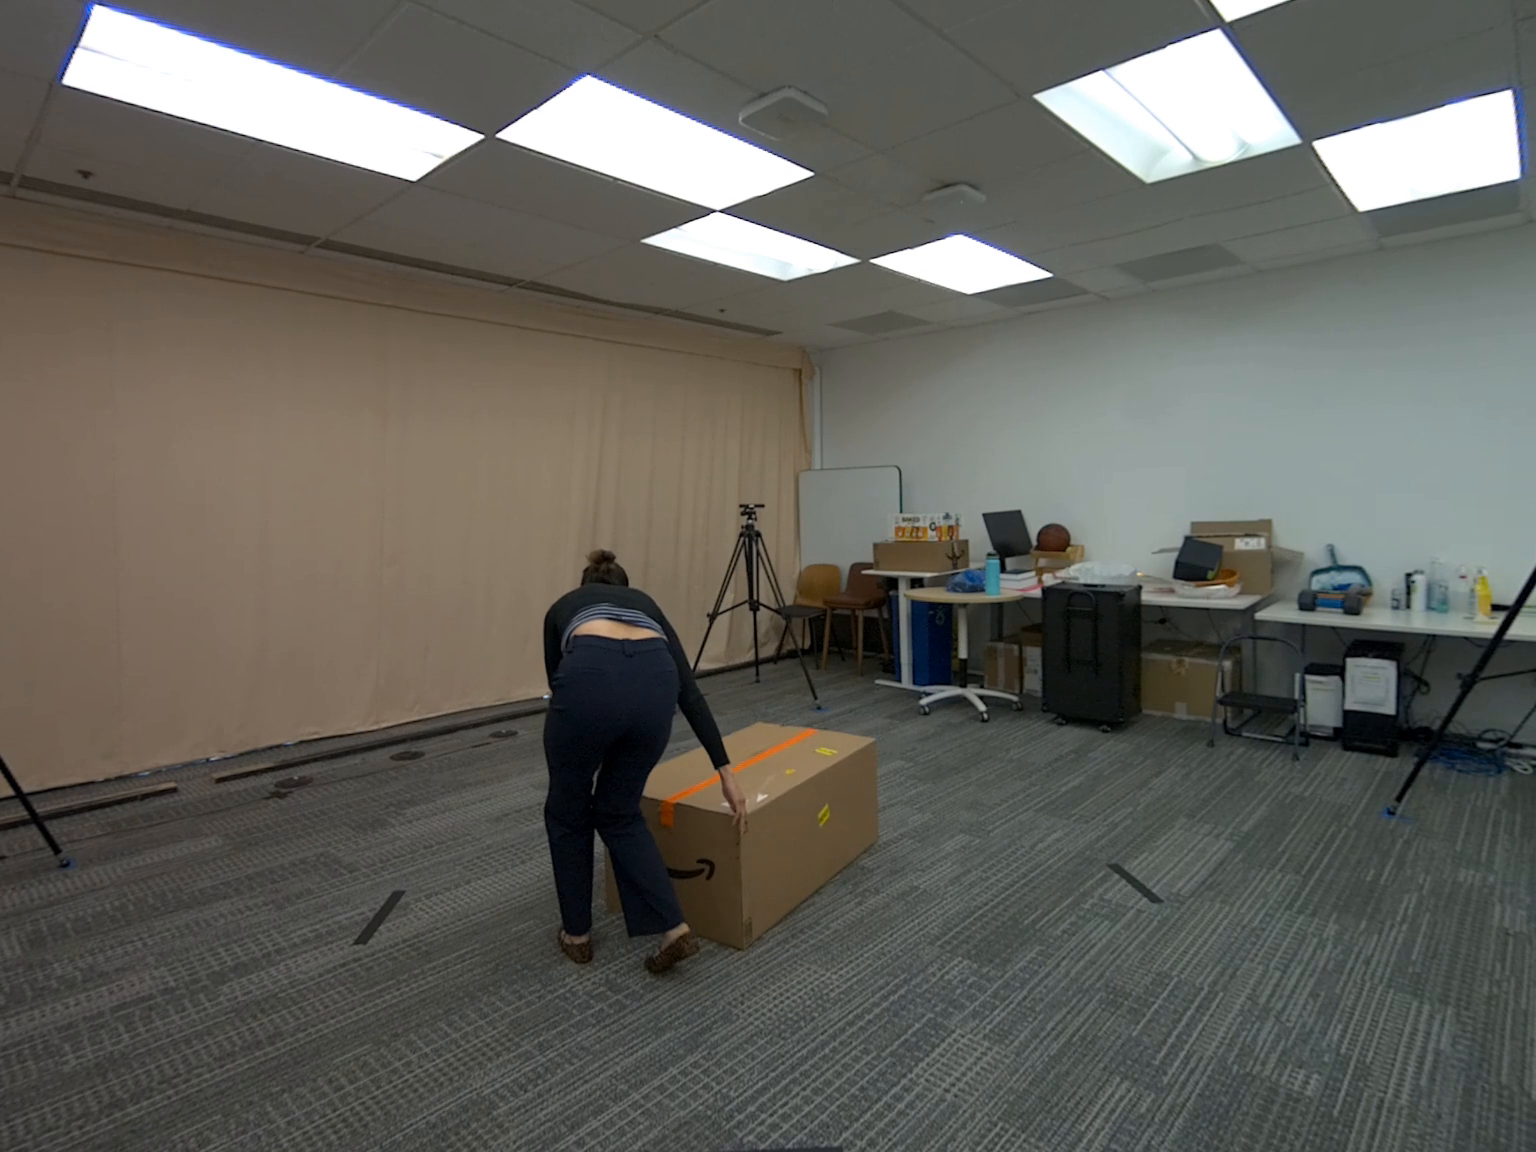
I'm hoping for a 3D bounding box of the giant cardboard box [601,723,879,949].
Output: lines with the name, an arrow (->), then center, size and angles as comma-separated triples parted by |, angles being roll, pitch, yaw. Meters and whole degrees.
giant cardboard box -> -0.057, 0.908, 3.187 | 0.595, 0.425, 0.998 | 2, 5, 33
